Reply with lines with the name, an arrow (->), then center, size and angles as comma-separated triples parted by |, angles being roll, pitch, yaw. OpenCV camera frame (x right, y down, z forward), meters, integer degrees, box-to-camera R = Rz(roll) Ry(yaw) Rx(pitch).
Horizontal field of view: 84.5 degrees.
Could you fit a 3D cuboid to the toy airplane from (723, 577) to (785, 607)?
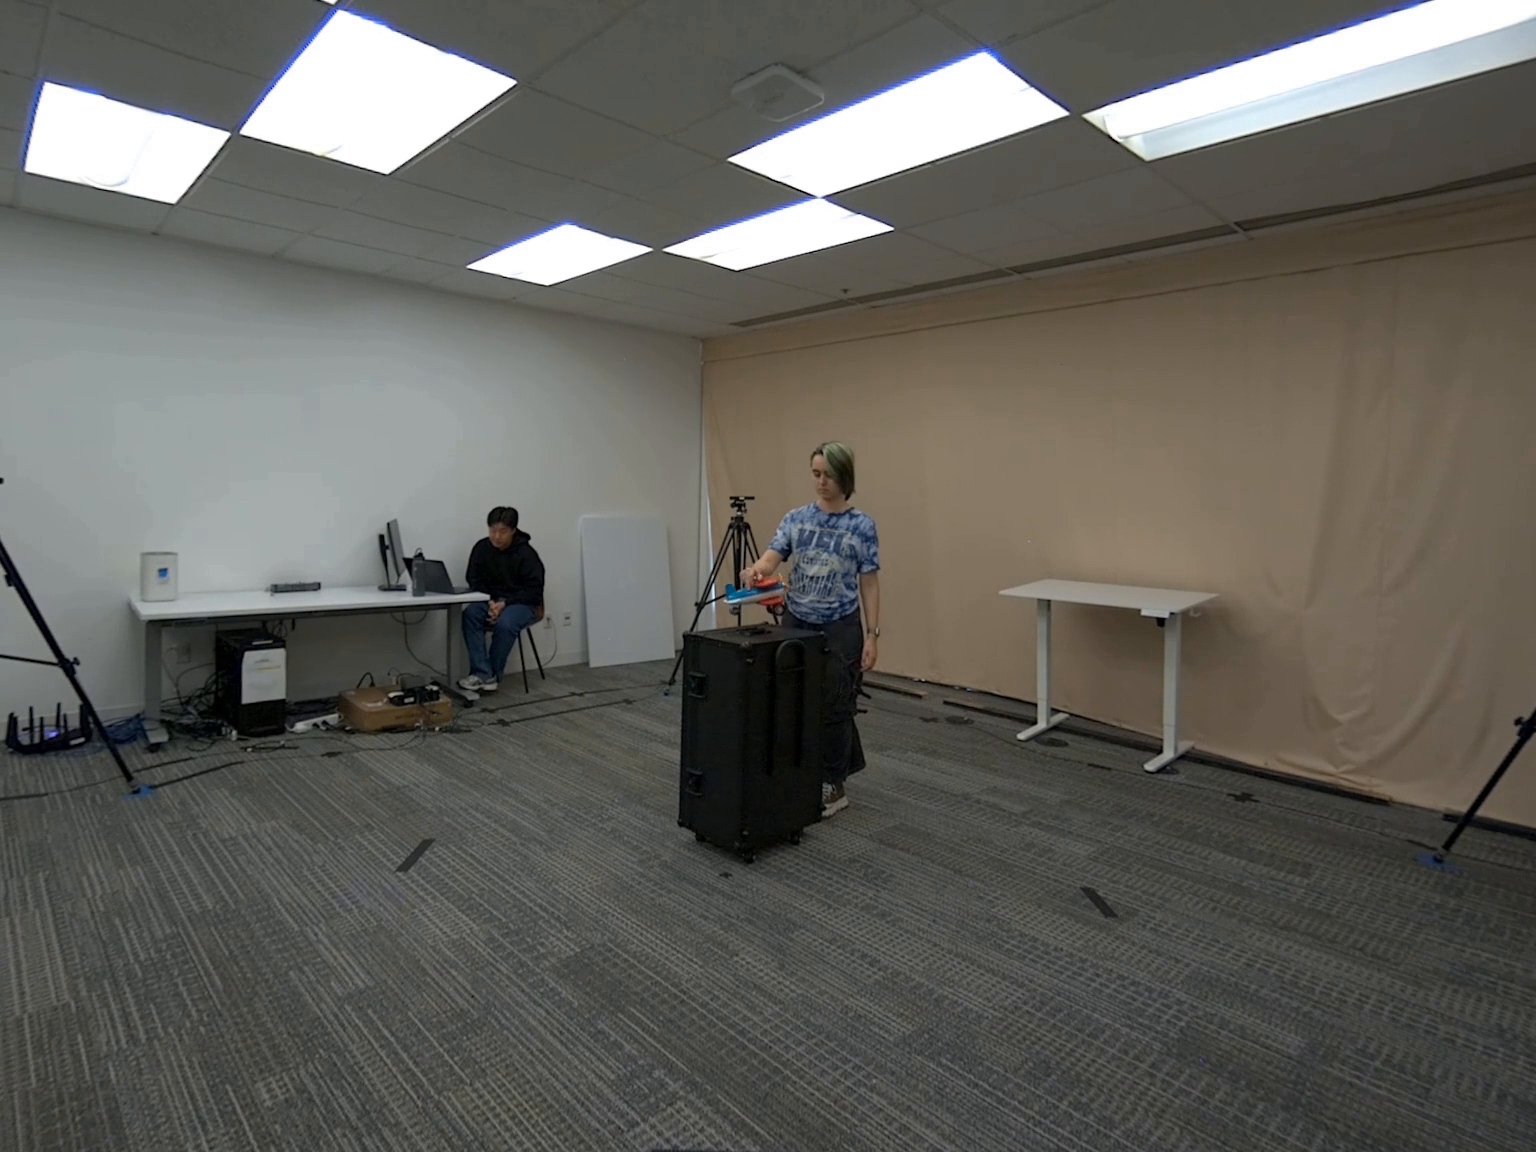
toy airplane -> -0.047, 0.086, 3.428 | 0.253, 0.156, 0.257 | 1, 2, -42
